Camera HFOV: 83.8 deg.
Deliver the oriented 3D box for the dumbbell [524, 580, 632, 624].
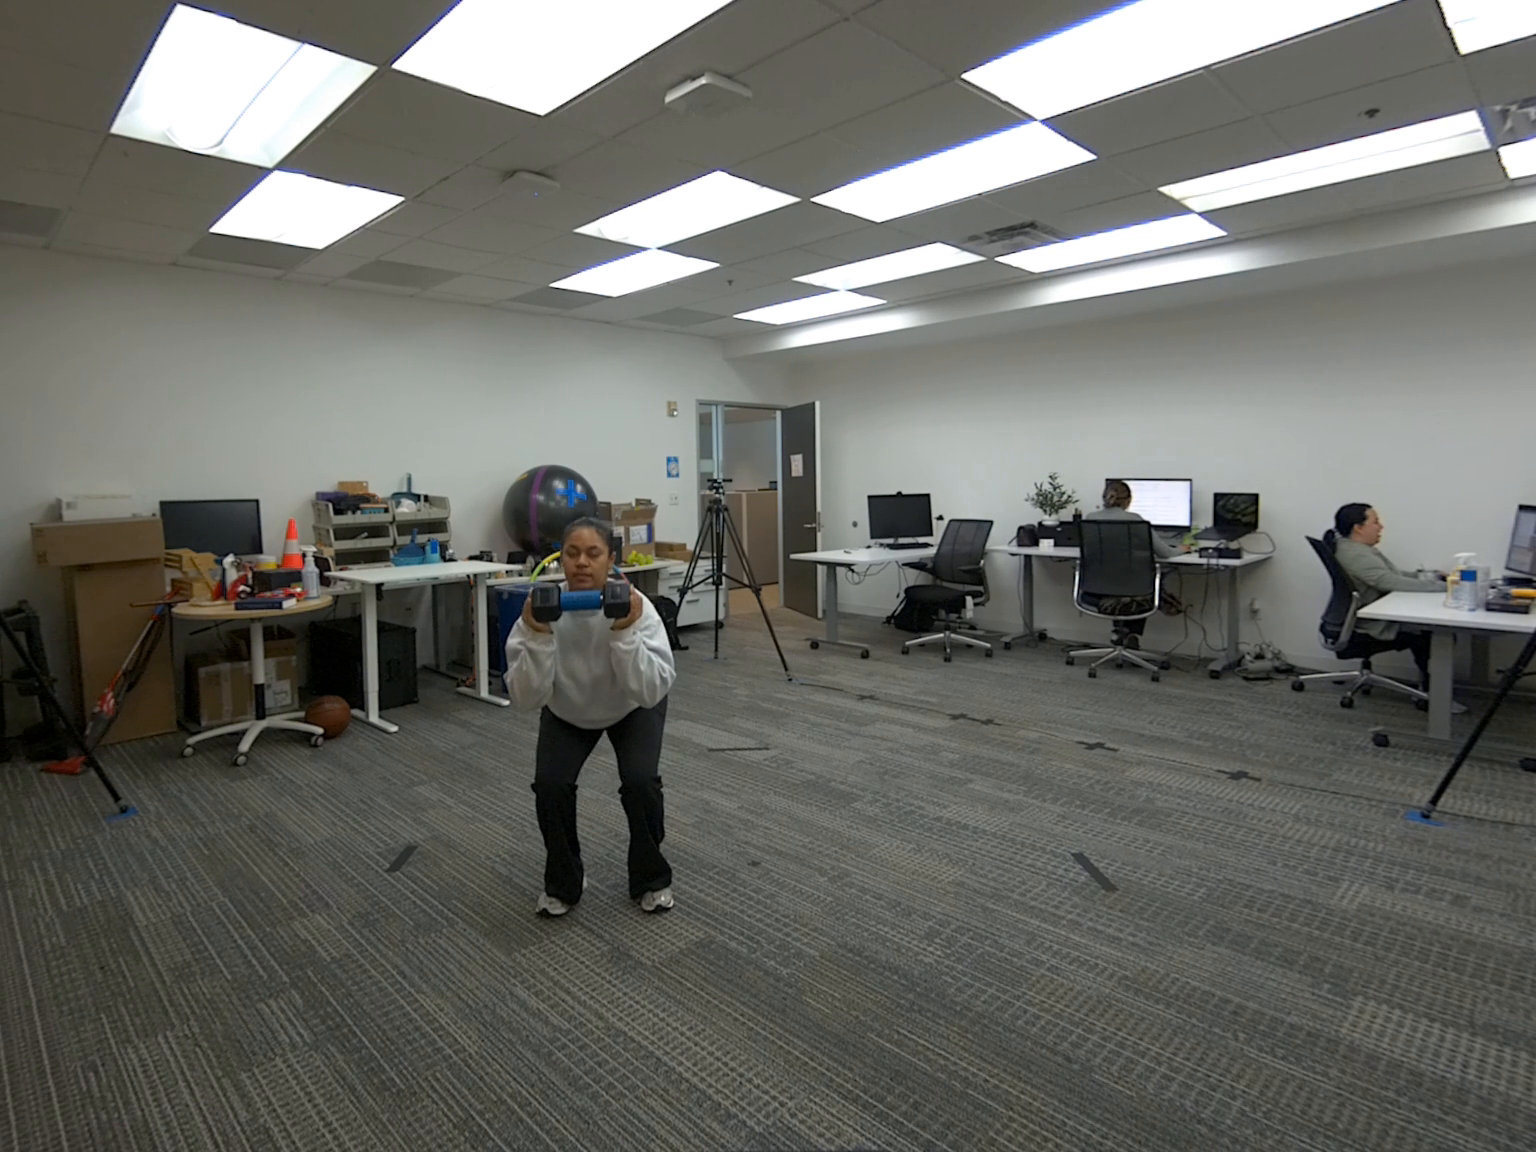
[{"bbox_3d":[-0.569,0.067,2.584,0.293,0.126,0.106,-7,-25,-3],"label":"dumbbell"}]
